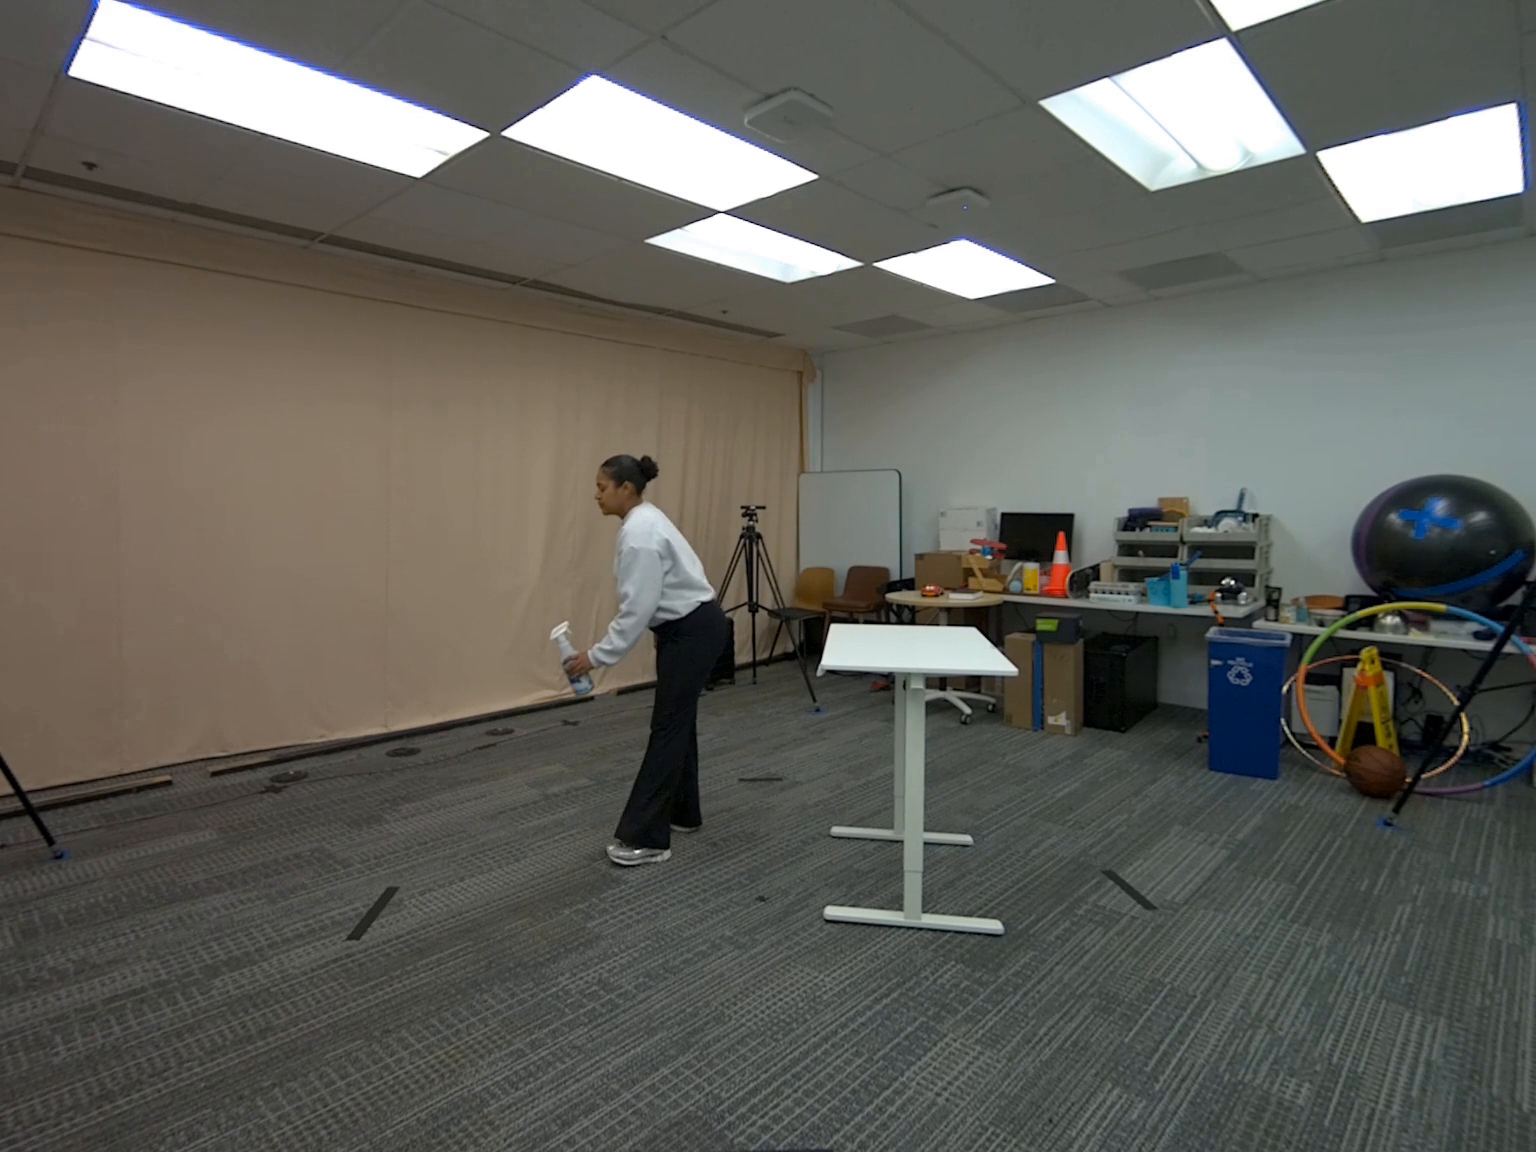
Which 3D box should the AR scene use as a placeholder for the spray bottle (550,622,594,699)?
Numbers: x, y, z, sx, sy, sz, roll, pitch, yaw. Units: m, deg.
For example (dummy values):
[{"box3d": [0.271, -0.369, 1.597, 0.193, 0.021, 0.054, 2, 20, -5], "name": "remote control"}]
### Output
[{"box3d": [-0.771, 0.334, 3.326, 0.090, 0.292, 0.088, -16, 20, -2], "name": "spray bottle"}]
